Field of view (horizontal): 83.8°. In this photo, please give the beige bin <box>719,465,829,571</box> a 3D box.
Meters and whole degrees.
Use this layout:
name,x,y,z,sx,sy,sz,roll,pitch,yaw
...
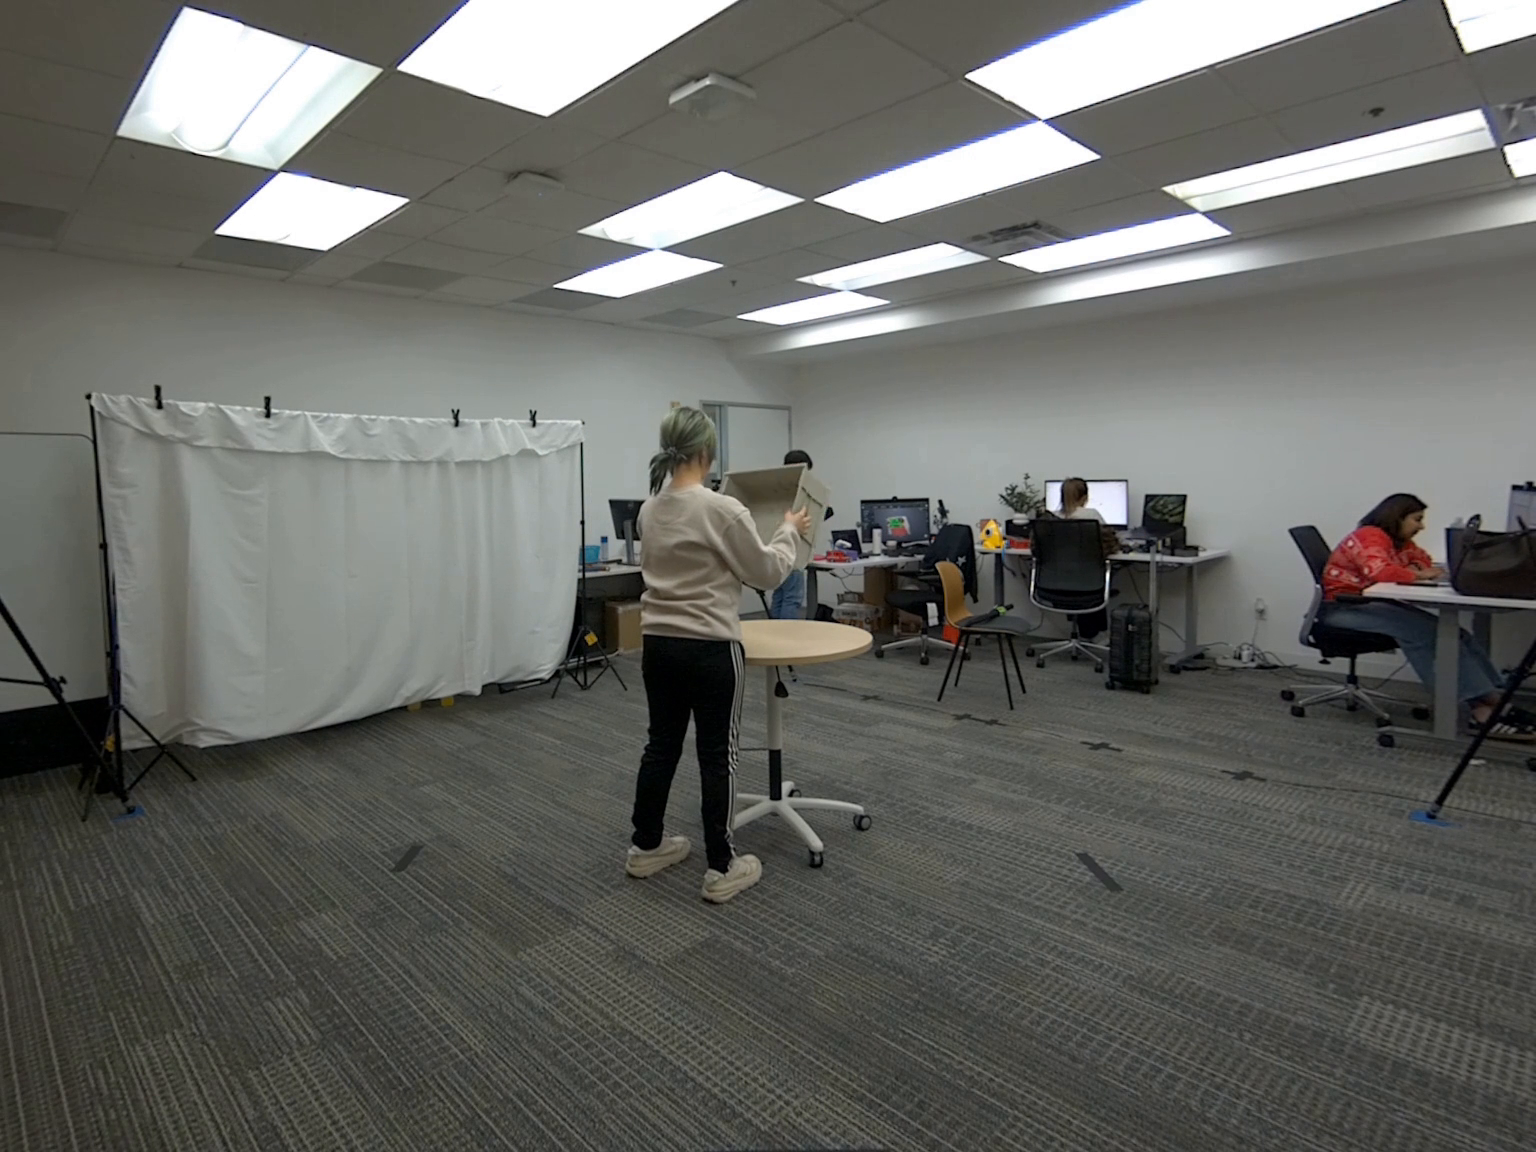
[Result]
name,x,y,z,sx,sy,sz,roll,pitch,yaw
beige bin,-0.011,-0.201,3.285,0.434,0.381,0.182,-2,-27,44
